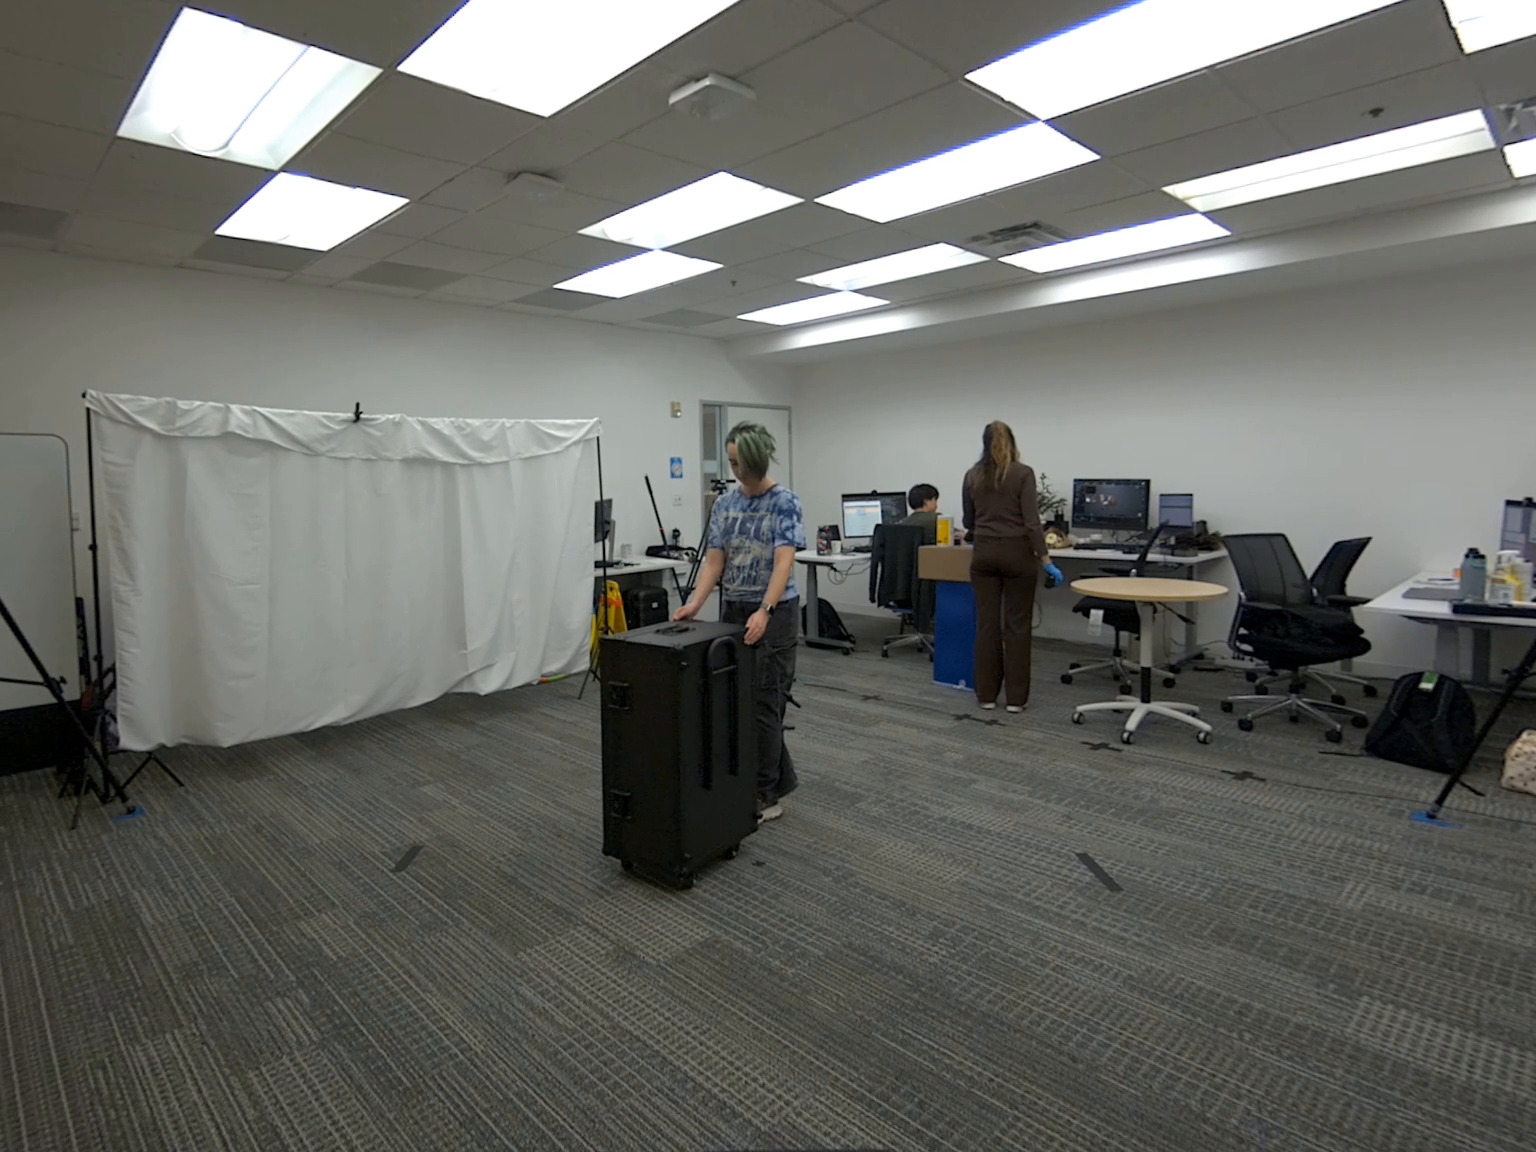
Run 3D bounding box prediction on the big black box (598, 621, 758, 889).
[{"bbox_3d":[-0.309,0.626,3.110,0.407,0.858,0.508,3,5,33],"label":"big black box"}]
